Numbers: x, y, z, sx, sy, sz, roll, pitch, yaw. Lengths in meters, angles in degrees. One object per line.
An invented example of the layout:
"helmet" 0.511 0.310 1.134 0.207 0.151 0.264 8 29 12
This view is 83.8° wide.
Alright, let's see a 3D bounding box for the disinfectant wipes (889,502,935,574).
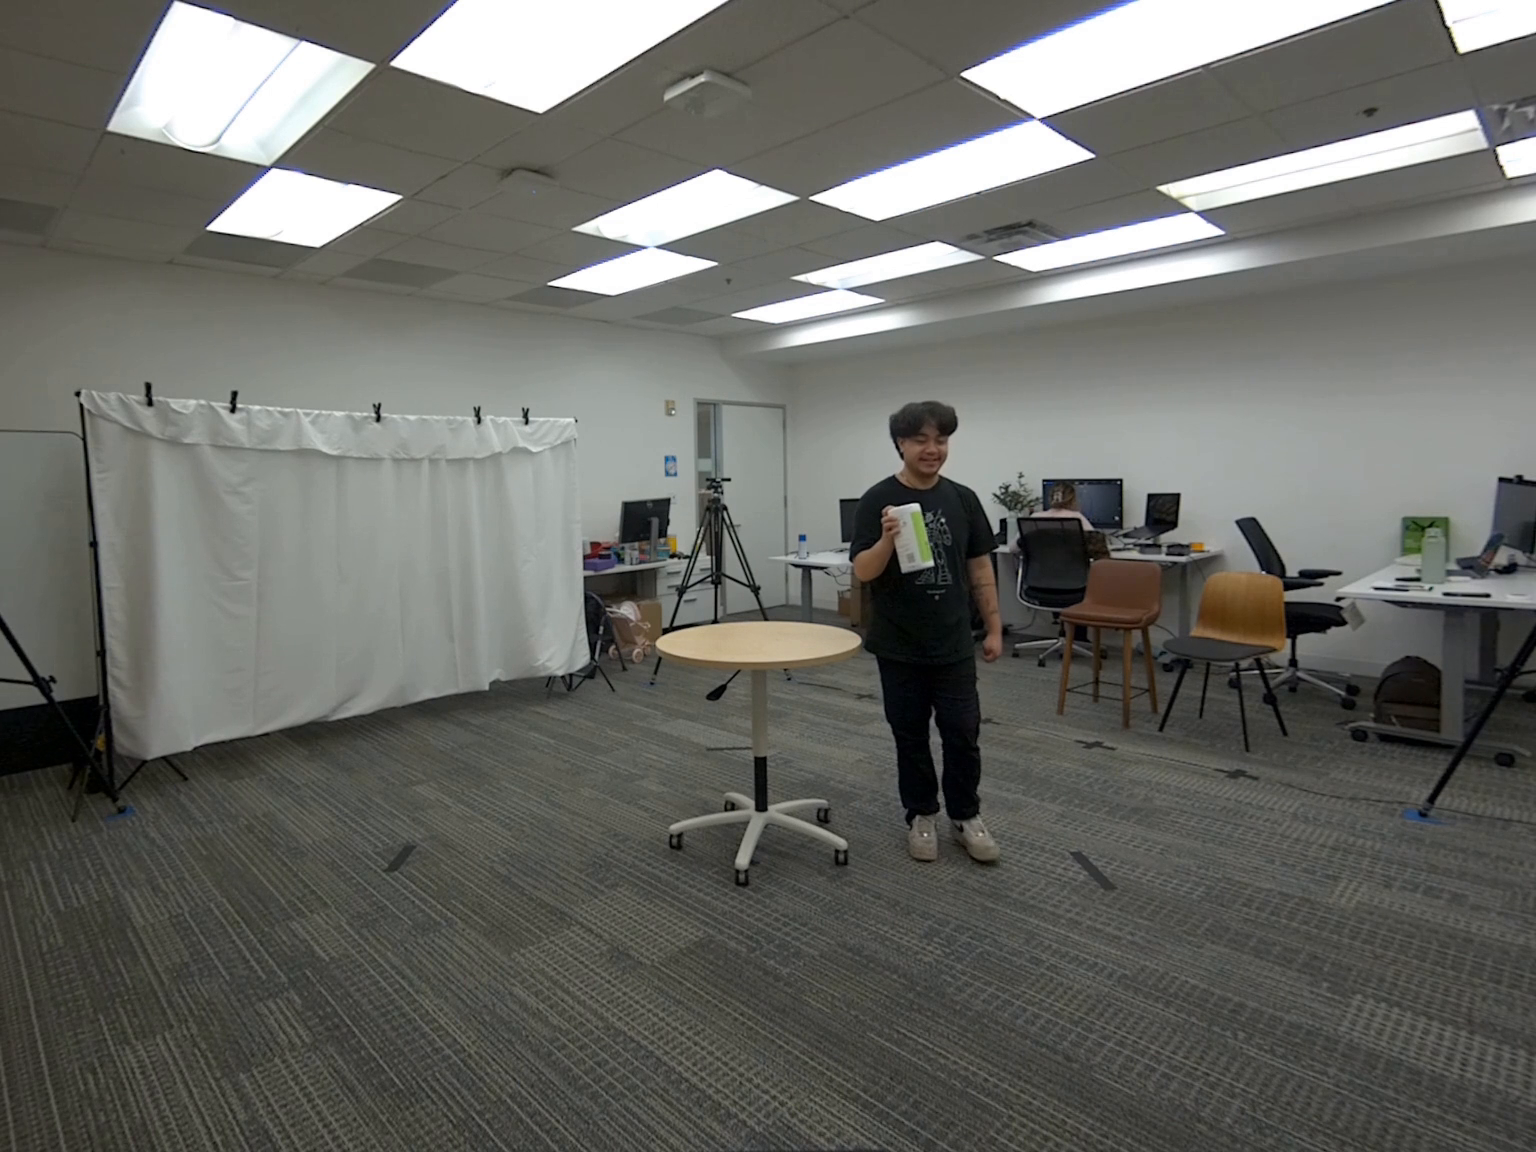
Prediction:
"disinfectant wipes" 0.458 -0.119 2.817 0.117 0.219 0.117 -10 -4 -2
